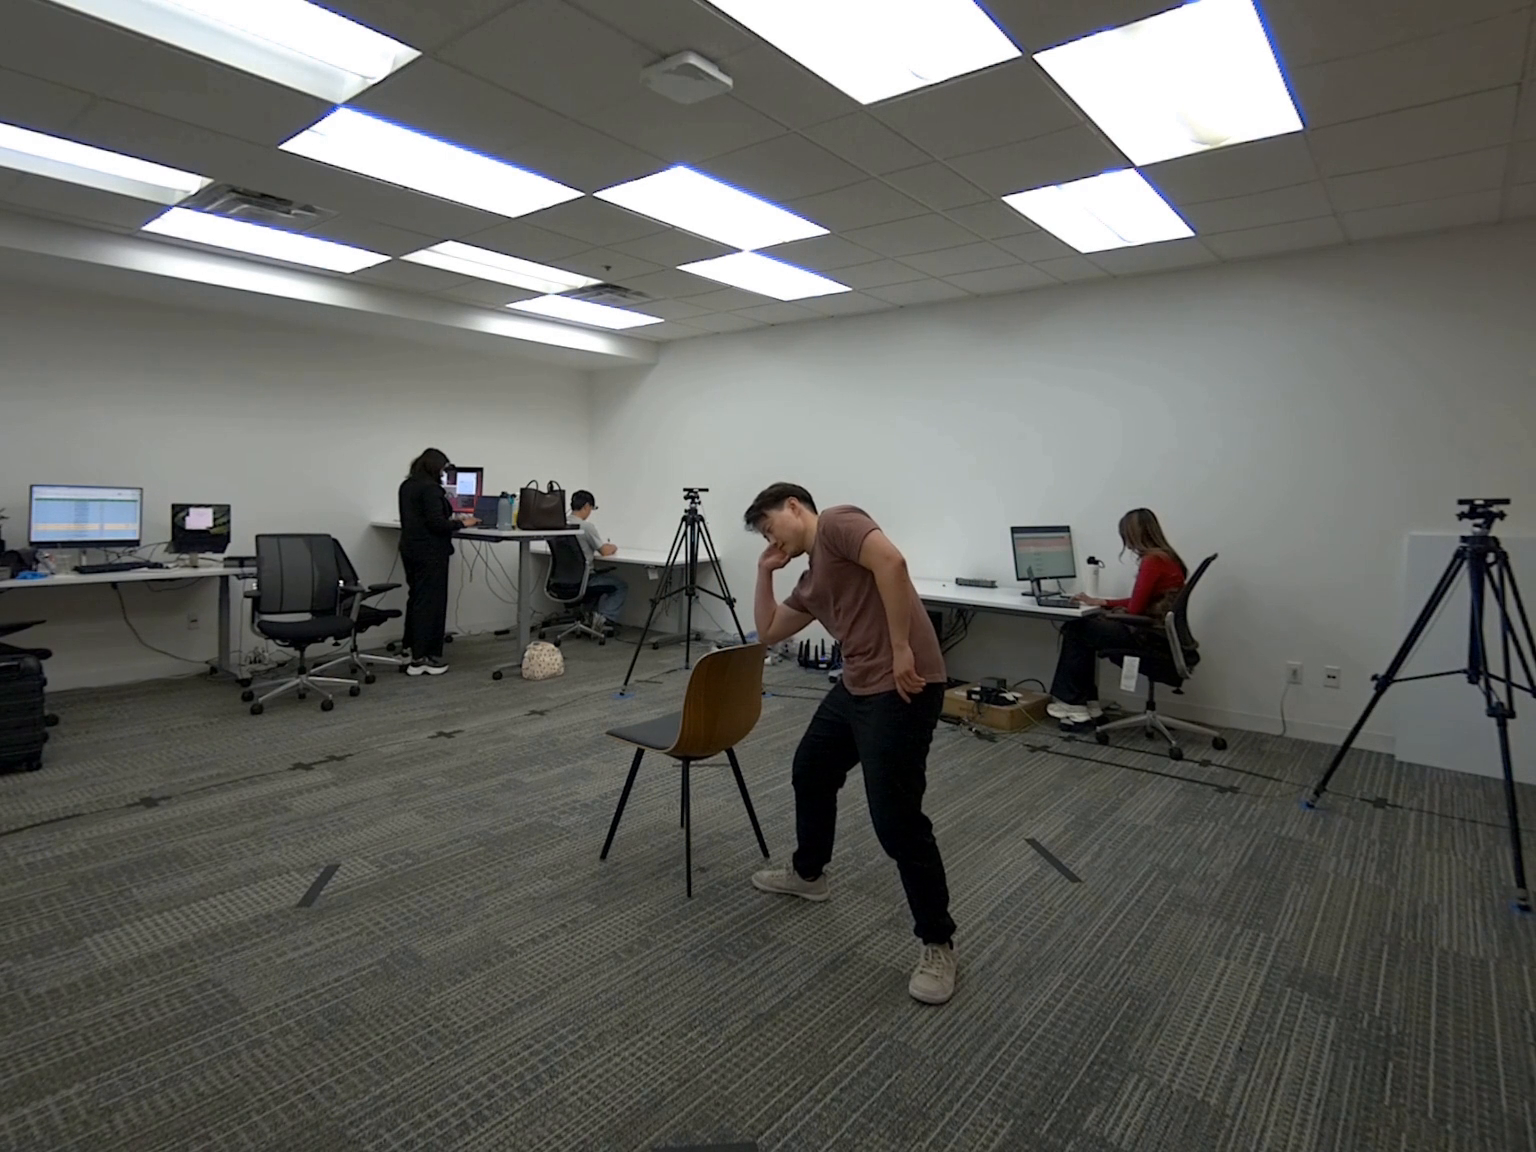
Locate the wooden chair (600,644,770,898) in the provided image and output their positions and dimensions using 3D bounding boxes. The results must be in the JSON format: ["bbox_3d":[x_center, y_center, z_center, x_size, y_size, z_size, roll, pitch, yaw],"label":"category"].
[{"bbox_3d":[-0.319,0.633,3.178,0.542,0.873,0.464,9,8,39],"label":"wooden chair"}]
